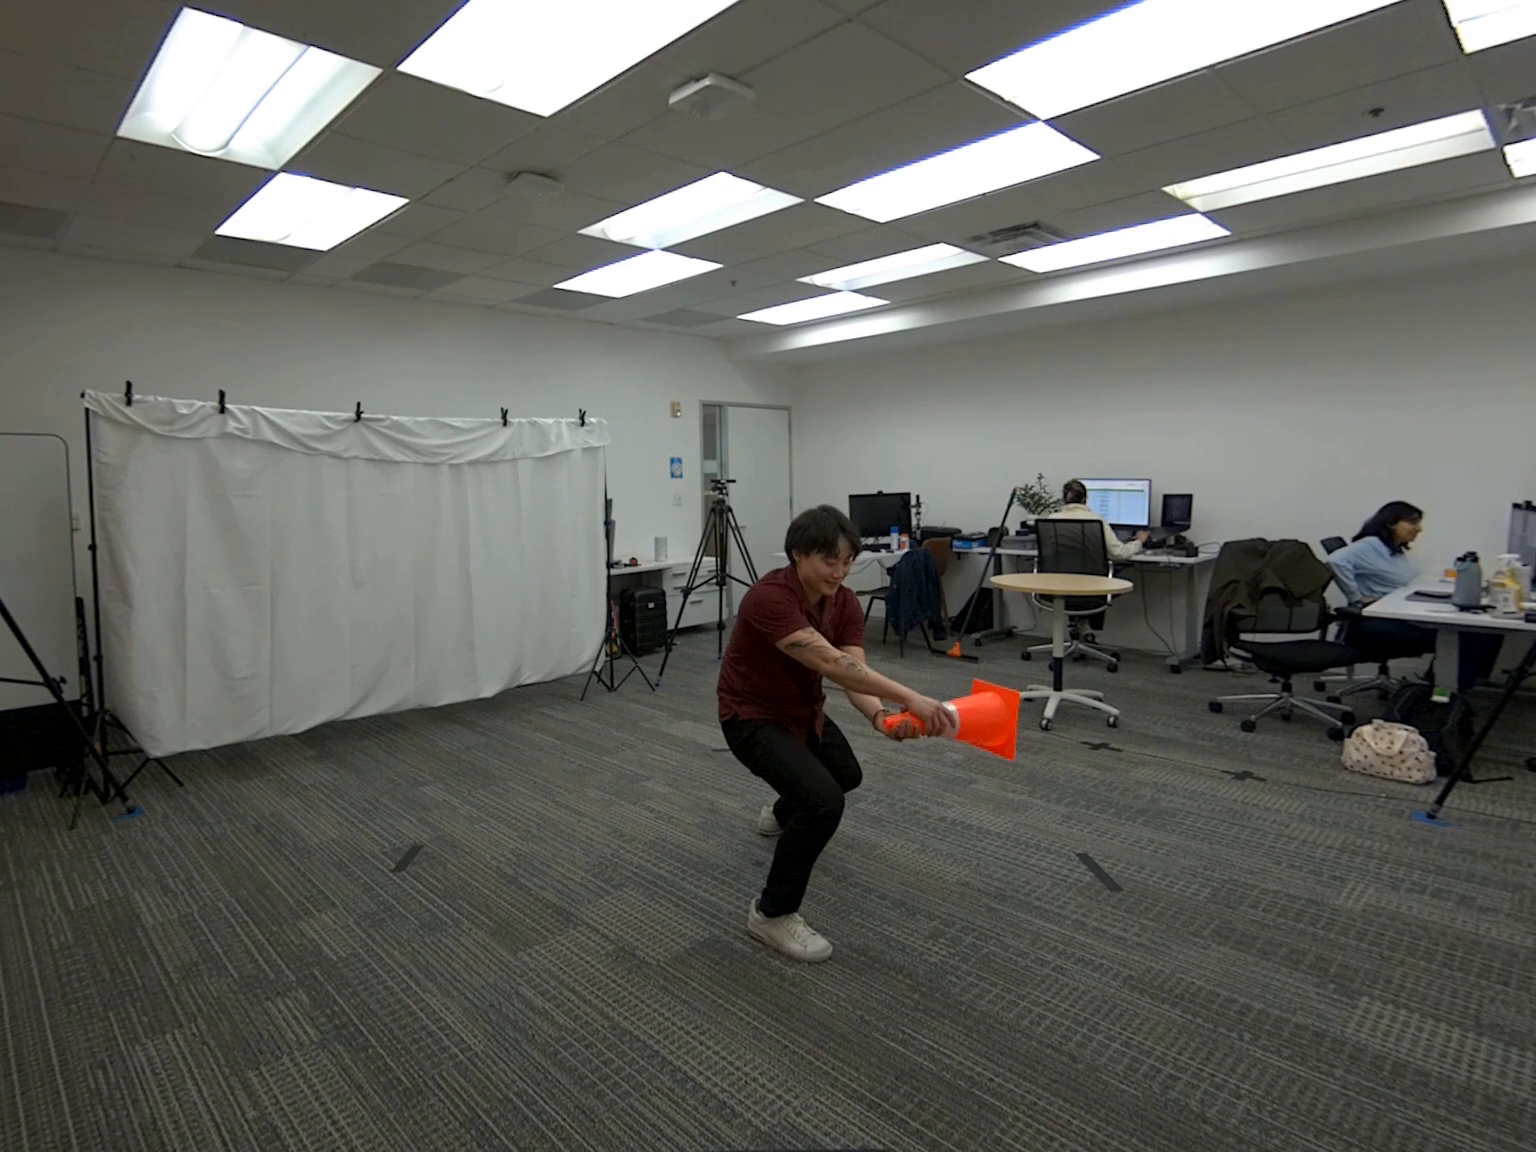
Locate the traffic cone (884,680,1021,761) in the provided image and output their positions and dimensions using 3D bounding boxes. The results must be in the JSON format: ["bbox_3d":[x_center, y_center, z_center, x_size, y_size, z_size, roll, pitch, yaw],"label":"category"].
[{"bbox_3d":[0.499,0.419,2.445,0.376,0.203,0.209,1,3,-22],"label":"traffic cone"}]
